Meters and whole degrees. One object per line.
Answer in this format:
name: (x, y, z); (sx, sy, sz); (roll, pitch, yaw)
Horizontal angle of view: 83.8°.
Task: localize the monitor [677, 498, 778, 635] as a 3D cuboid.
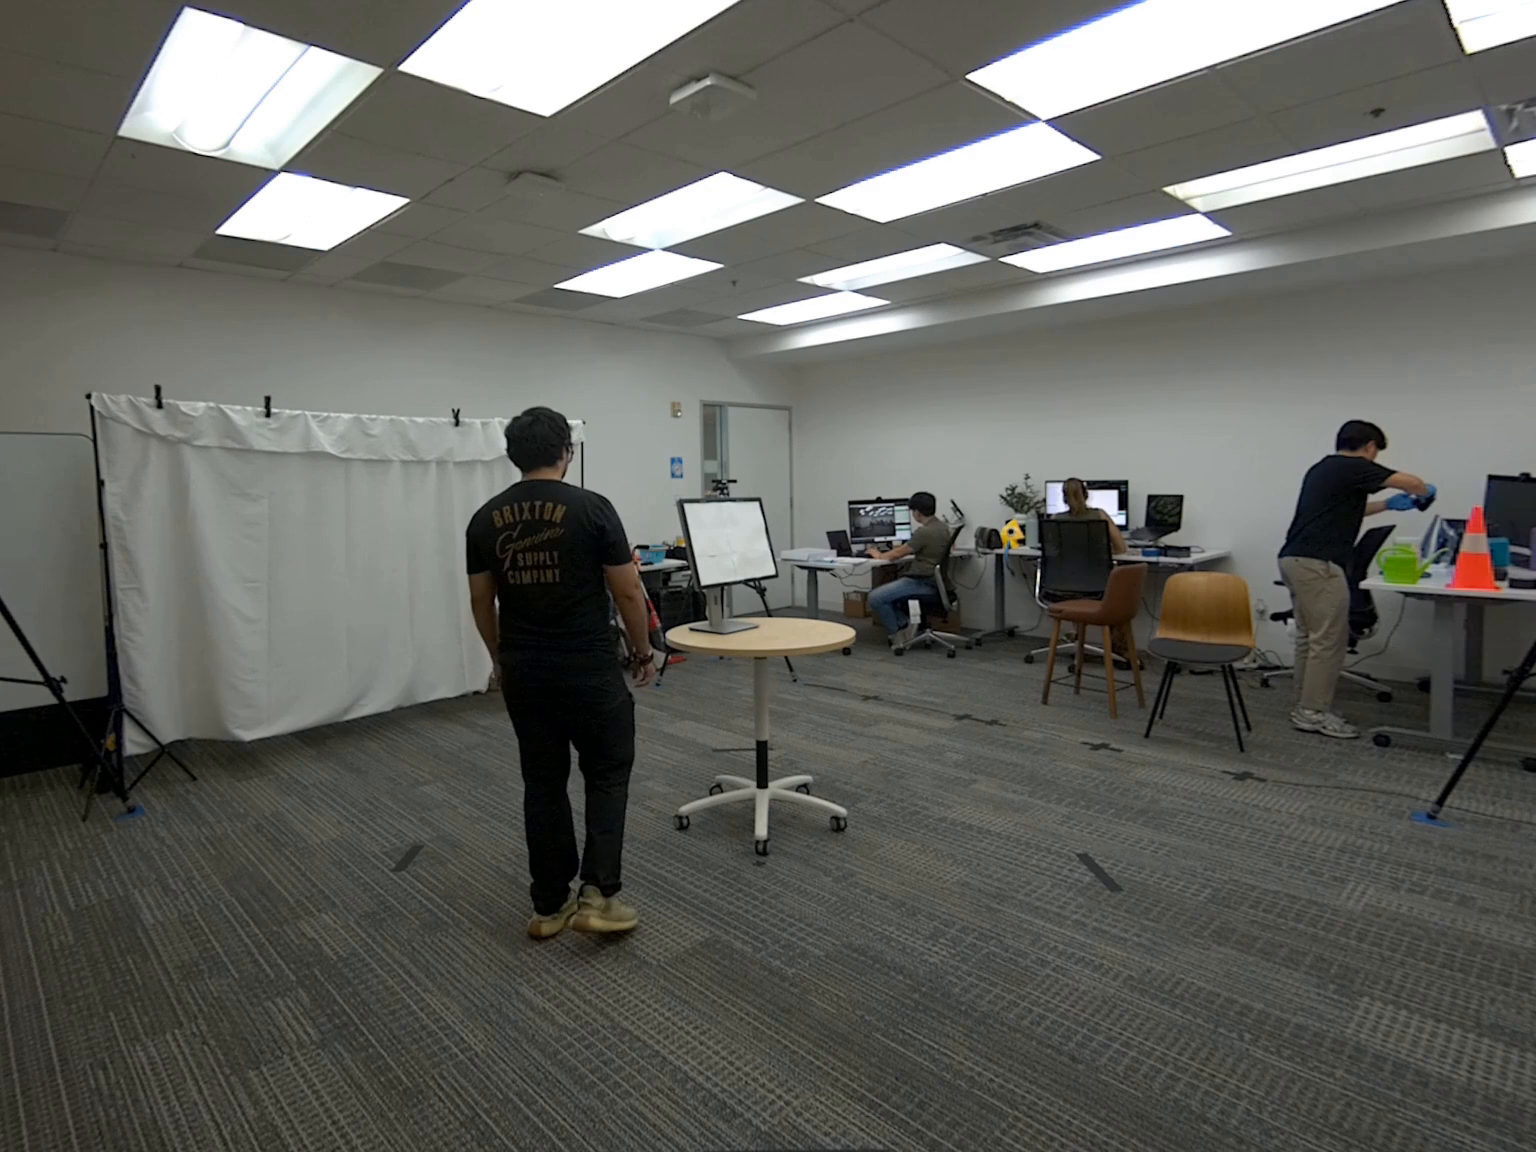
monitor: (-0.206, -0.048, 3.570); (0.215, 0.554, 0.551); (-7, 0, 35)
